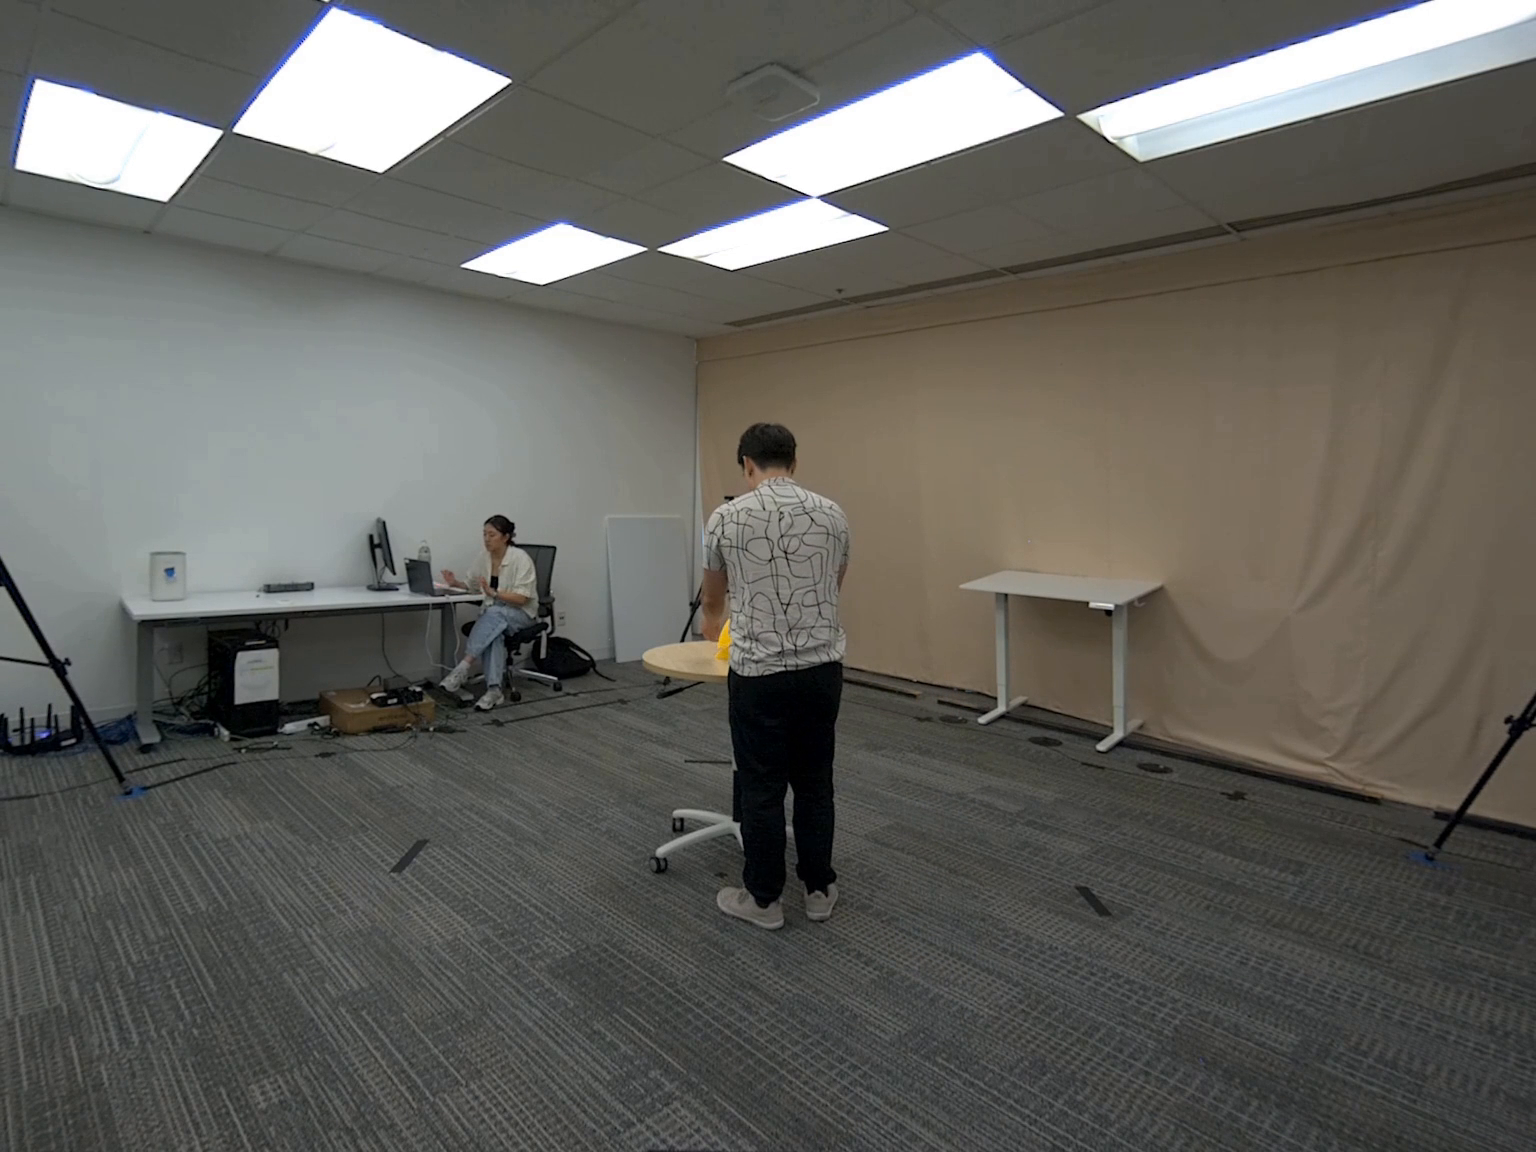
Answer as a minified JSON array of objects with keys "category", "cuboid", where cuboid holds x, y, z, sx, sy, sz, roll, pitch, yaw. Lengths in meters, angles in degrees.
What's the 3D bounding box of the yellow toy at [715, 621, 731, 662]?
[{"category":"yellow toy","cuboid":[-0.106,0.195,3.242,0.195,0.230,0.203,2,3,12]}]
